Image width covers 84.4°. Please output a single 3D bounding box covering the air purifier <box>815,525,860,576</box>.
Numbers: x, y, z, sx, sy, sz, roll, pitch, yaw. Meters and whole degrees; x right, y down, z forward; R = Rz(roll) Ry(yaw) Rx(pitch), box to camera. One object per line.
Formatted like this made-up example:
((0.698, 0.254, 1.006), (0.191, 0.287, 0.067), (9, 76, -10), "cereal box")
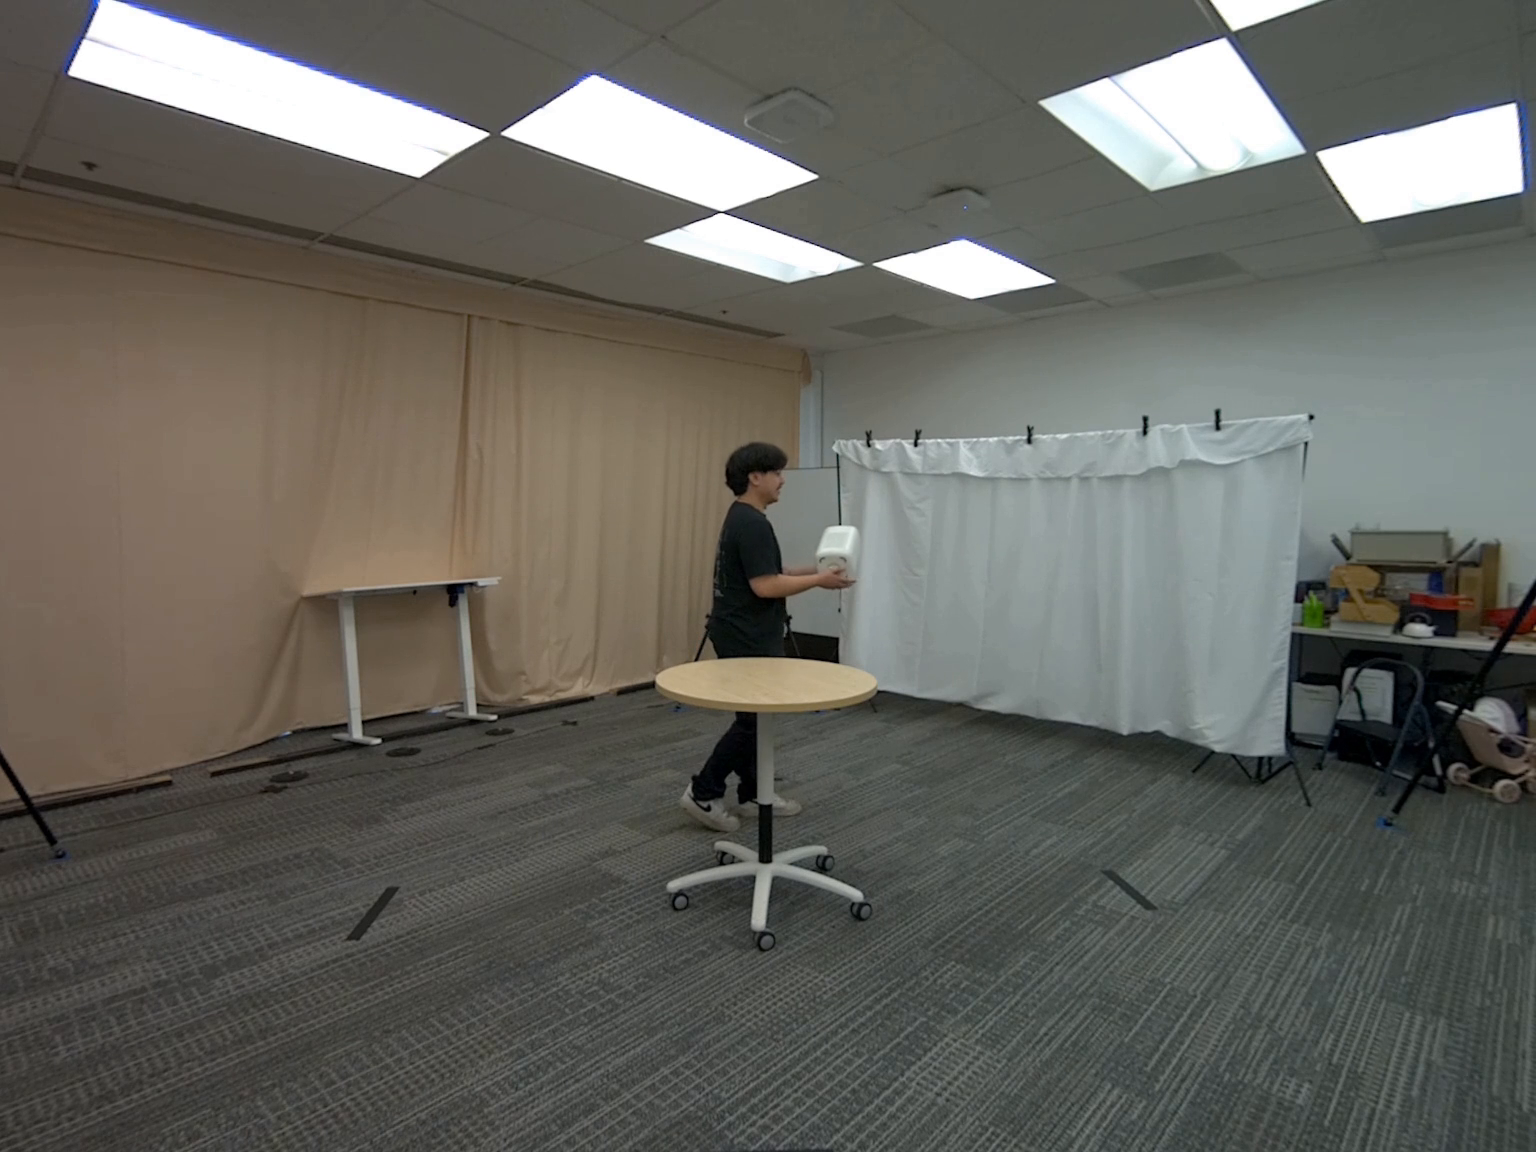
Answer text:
((0.309, -0.091, 3.705), (0.174, 0.168, 0.266), (-2, 27, 16), "air purifier")
